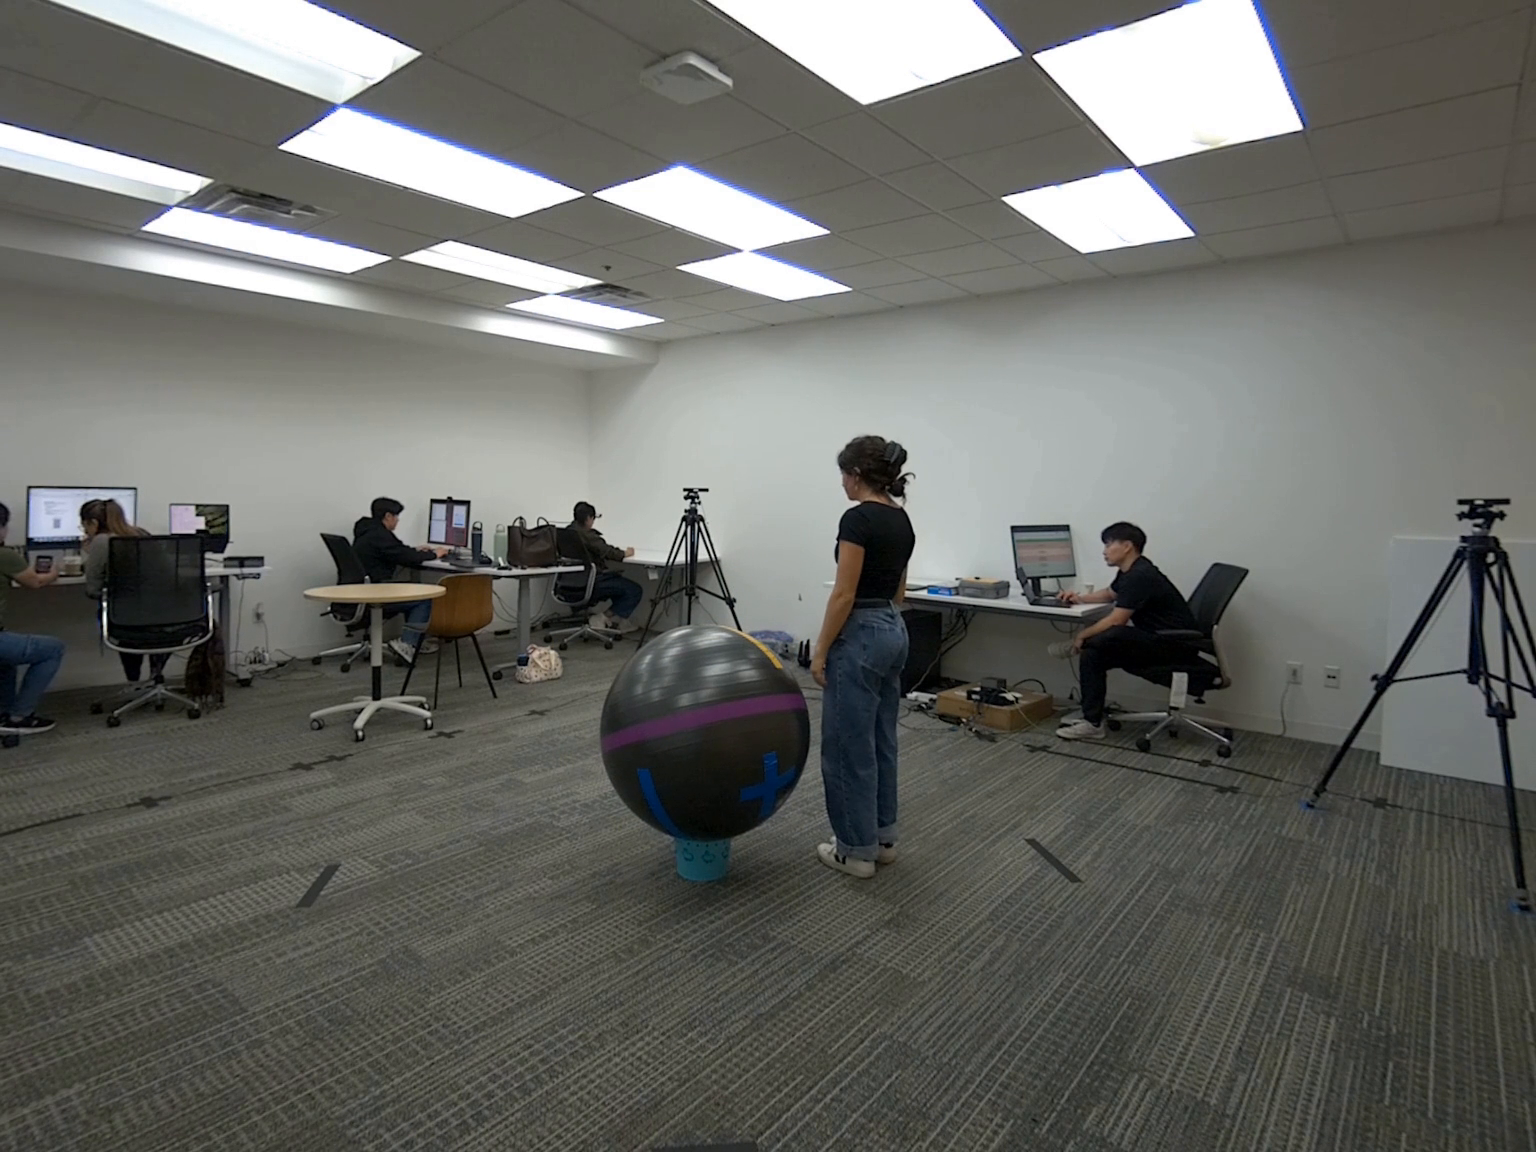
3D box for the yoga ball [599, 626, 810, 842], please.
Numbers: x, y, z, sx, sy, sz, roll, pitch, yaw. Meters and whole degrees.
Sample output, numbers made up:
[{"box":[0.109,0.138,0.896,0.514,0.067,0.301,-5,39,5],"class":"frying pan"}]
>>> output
[{"box":[-0.245,0.560,3.081,0.757,0.756,0.762,1,4,-2],"class":"yoga ball"}]
